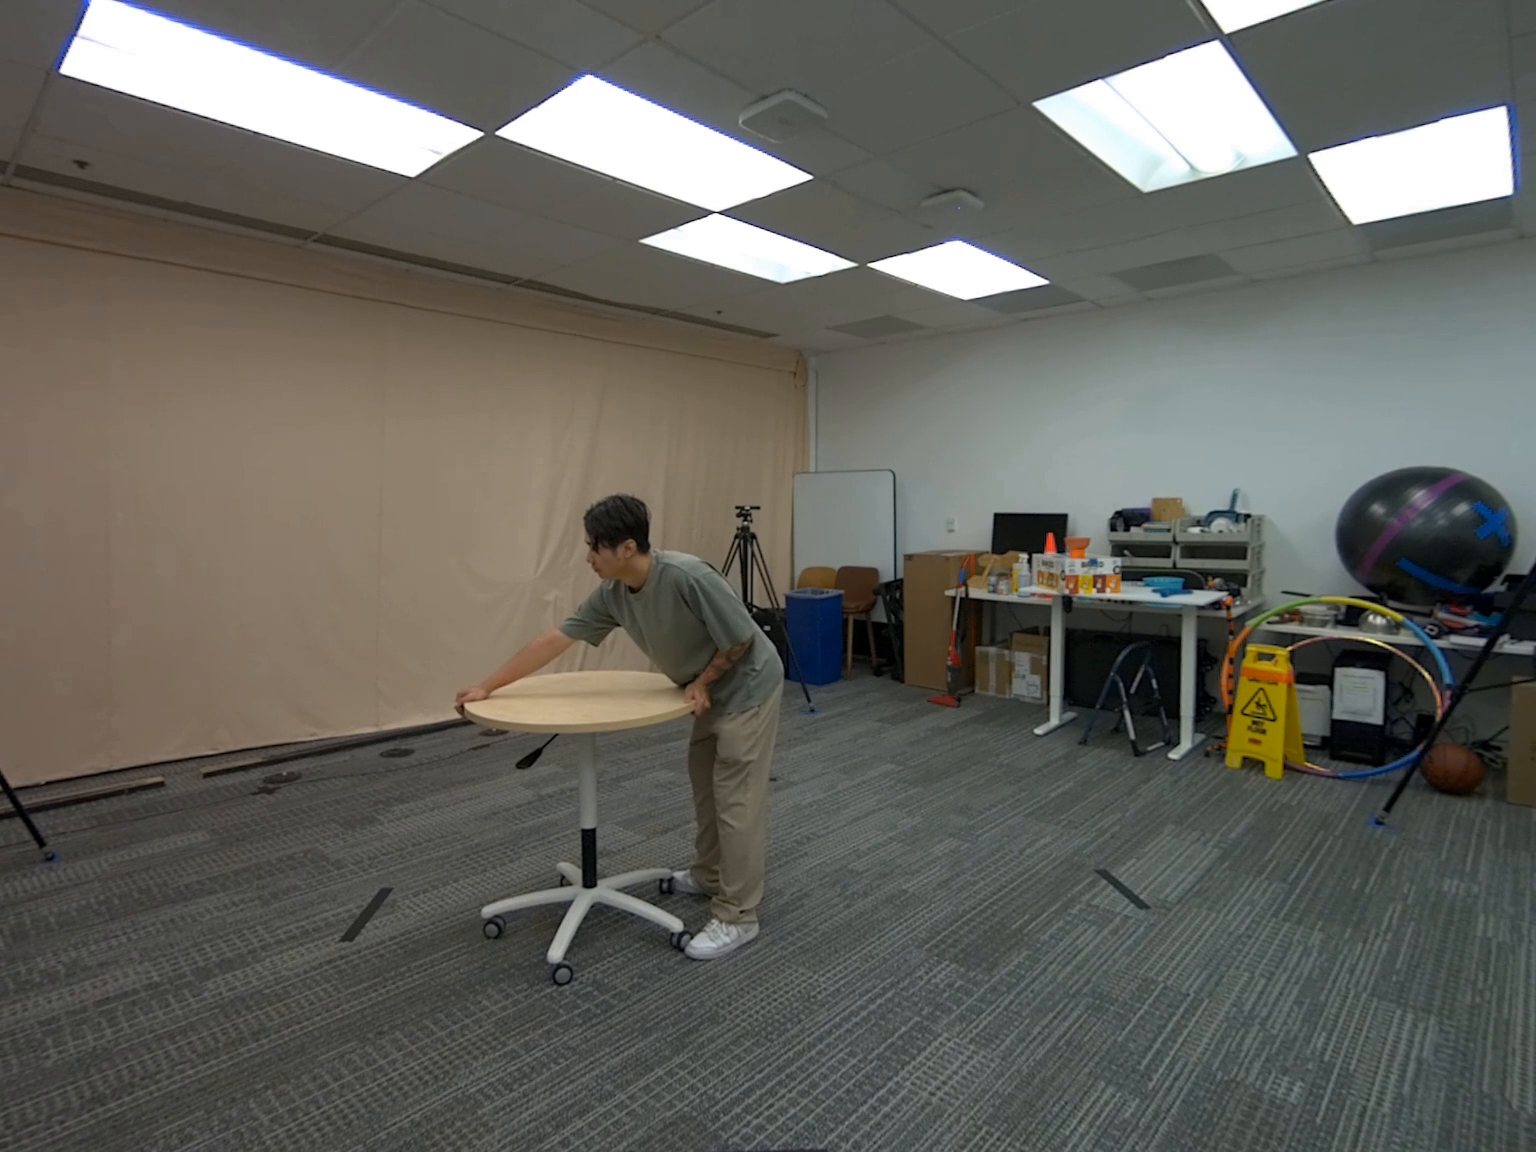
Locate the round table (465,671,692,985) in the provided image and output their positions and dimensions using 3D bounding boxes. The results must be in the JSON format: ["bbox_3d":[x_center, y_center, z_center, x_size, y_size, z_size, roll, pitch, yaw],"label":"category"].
[{"bbox_3d":[-0.597,0.779,2.765,0.784,0.784,0.788,-1,4,-2],"label":"round table"}]
